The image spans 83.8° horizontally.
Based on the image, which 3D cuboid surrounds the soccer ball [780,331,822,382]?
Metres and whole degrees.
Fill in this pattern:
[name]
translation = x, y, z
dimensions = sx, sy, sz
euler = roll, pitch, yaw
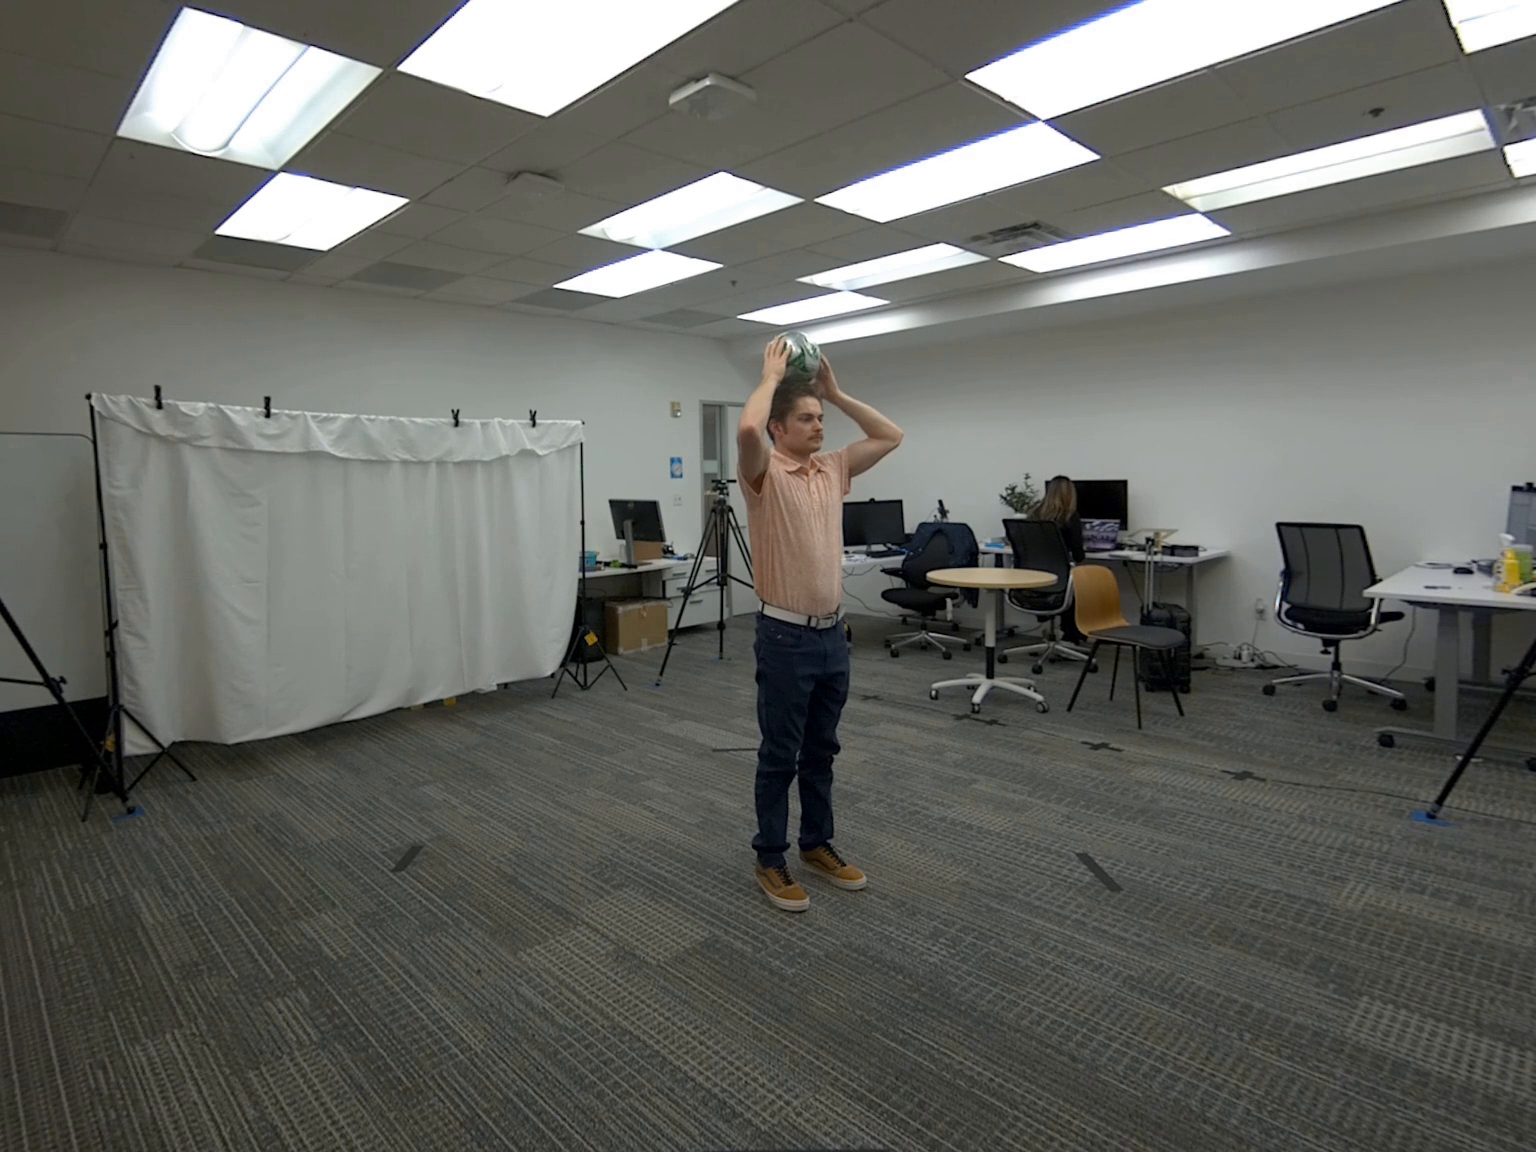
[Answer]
[soccer ball]
translation = 0.089, -0.721, 2.882
dimensions = 0.187, 0.187, 0.188
euler = -1, 5, -2
